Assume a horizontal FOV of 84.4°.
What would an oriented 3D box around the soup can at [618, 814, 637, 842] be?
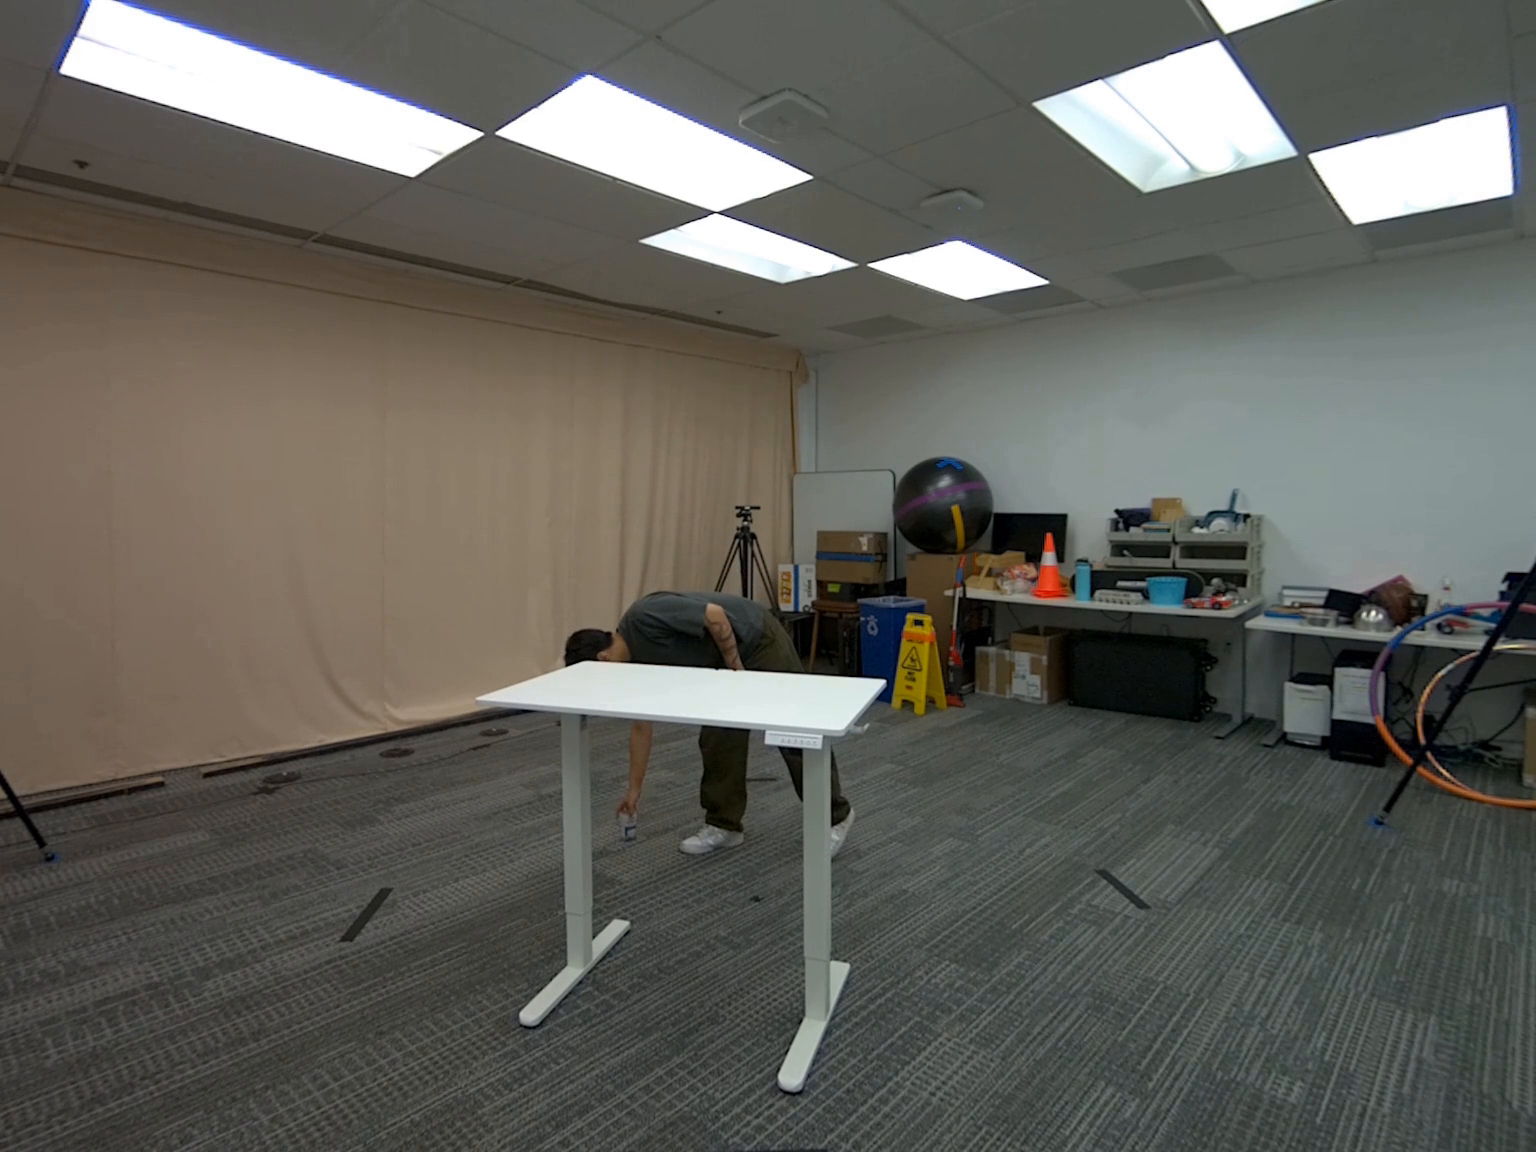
[{"bbox_3d":[-0.581,1.052,3.527,0.067,0.121,0.067,-1,-1,-2],"label":"soup can"}]
